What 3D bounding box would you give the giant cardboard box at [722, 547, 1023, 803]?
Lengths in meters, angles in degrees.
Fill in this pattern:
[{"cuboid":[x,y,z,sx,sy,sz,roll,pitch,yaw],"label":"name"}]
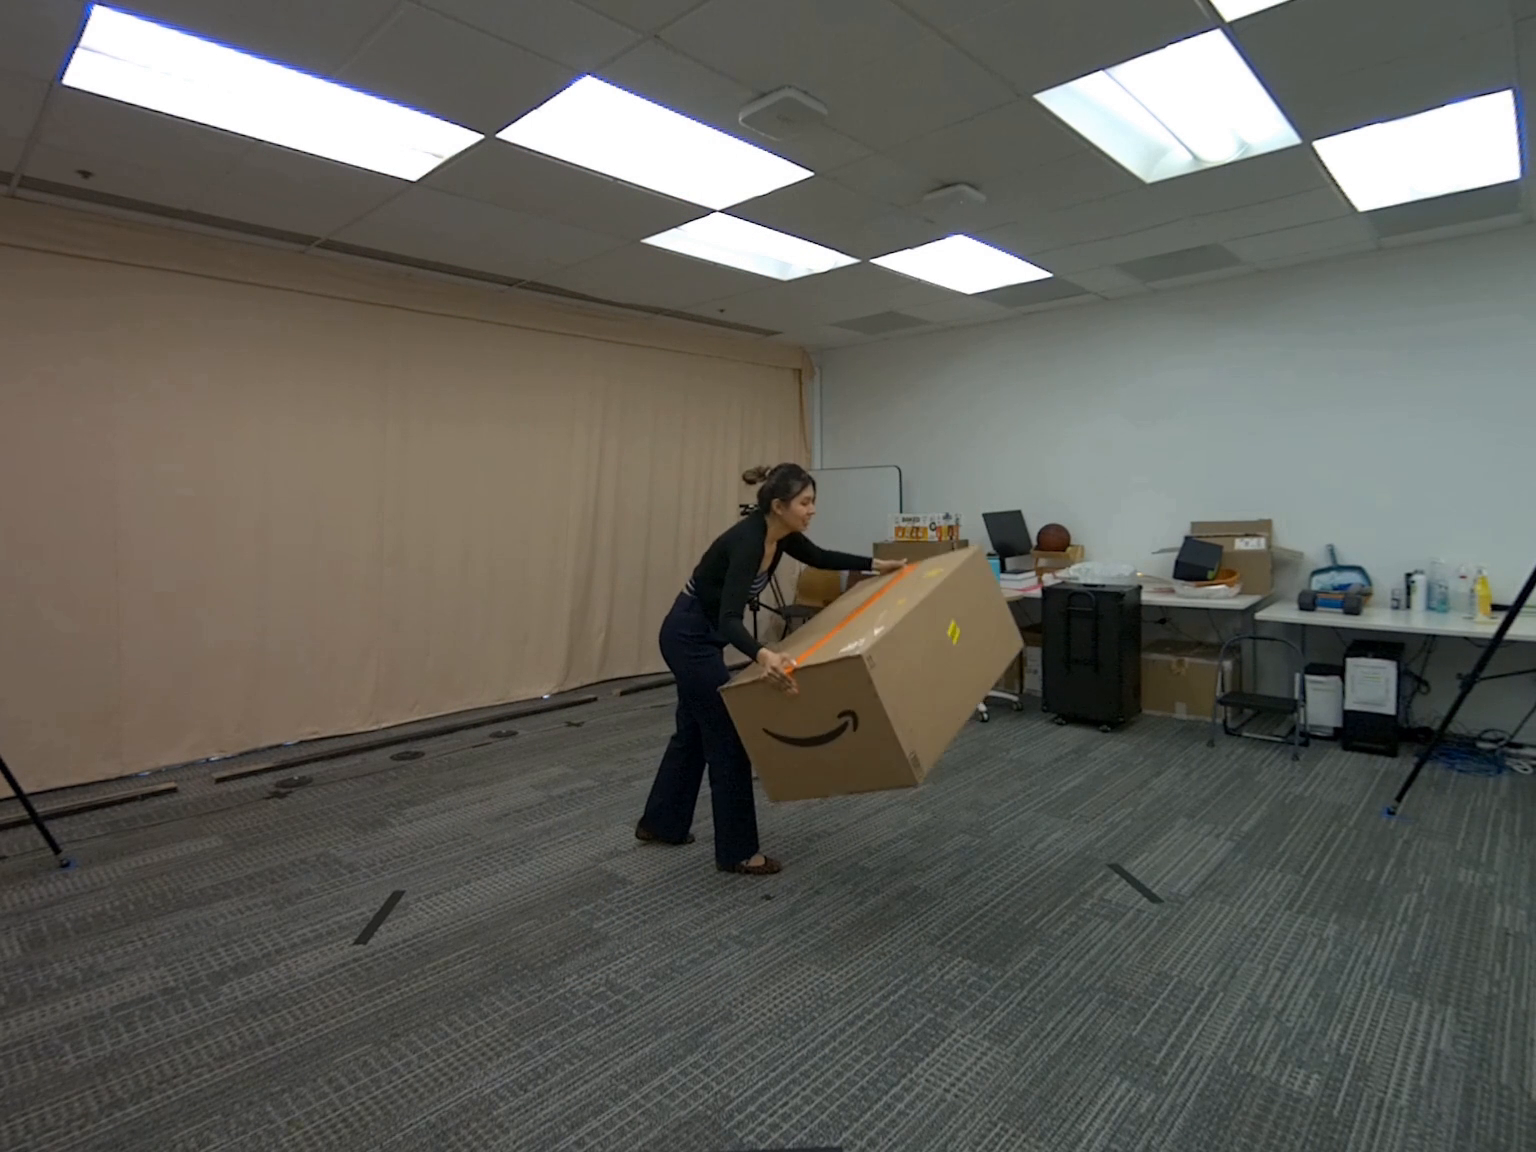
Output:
[{"cuboid":[0.404,0.312,2.962,0.590,0.424,1.007,-21,7,40],"label":"giant cardboard box"}]
